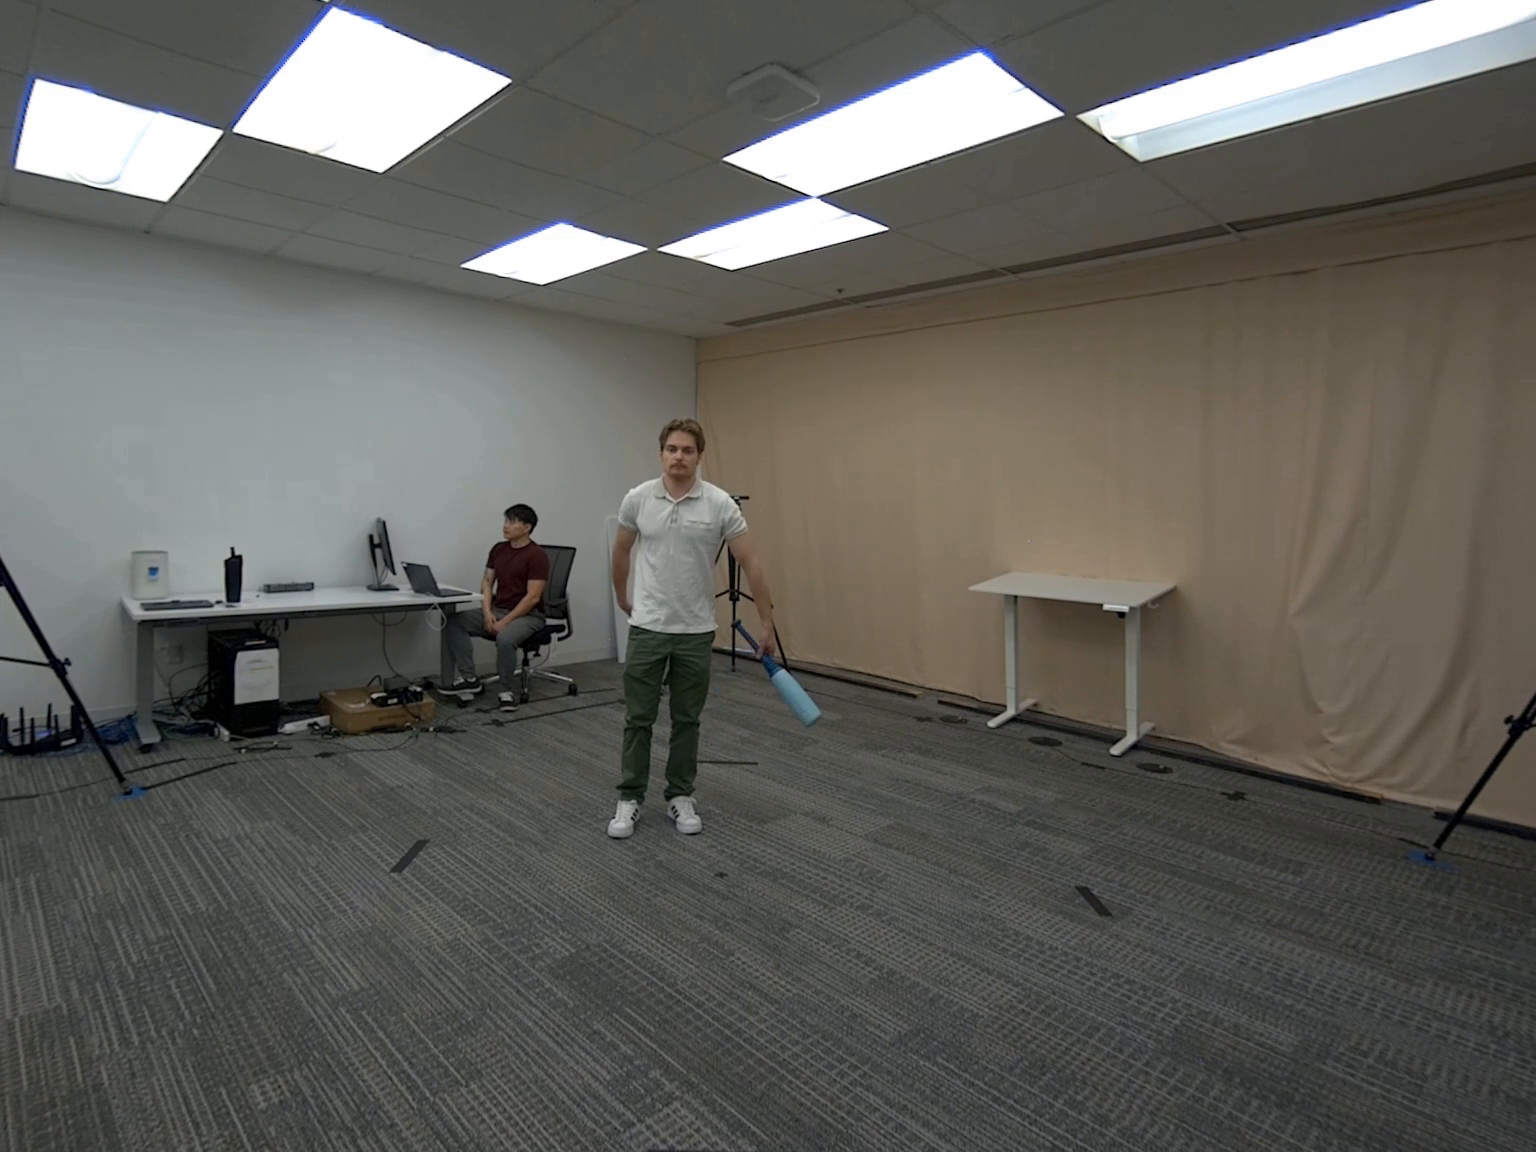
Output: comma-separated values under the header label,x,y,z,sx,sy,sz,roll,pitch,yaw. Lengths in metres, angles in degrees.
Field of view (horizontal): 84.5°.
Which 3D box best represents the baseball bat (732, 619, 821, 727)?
label,x,y,z,sx,sy,sz,roll,pitch,yaw
baseball bat,-0.014,0.388,3.491,0.555,0.089,0.087,50,26,21
